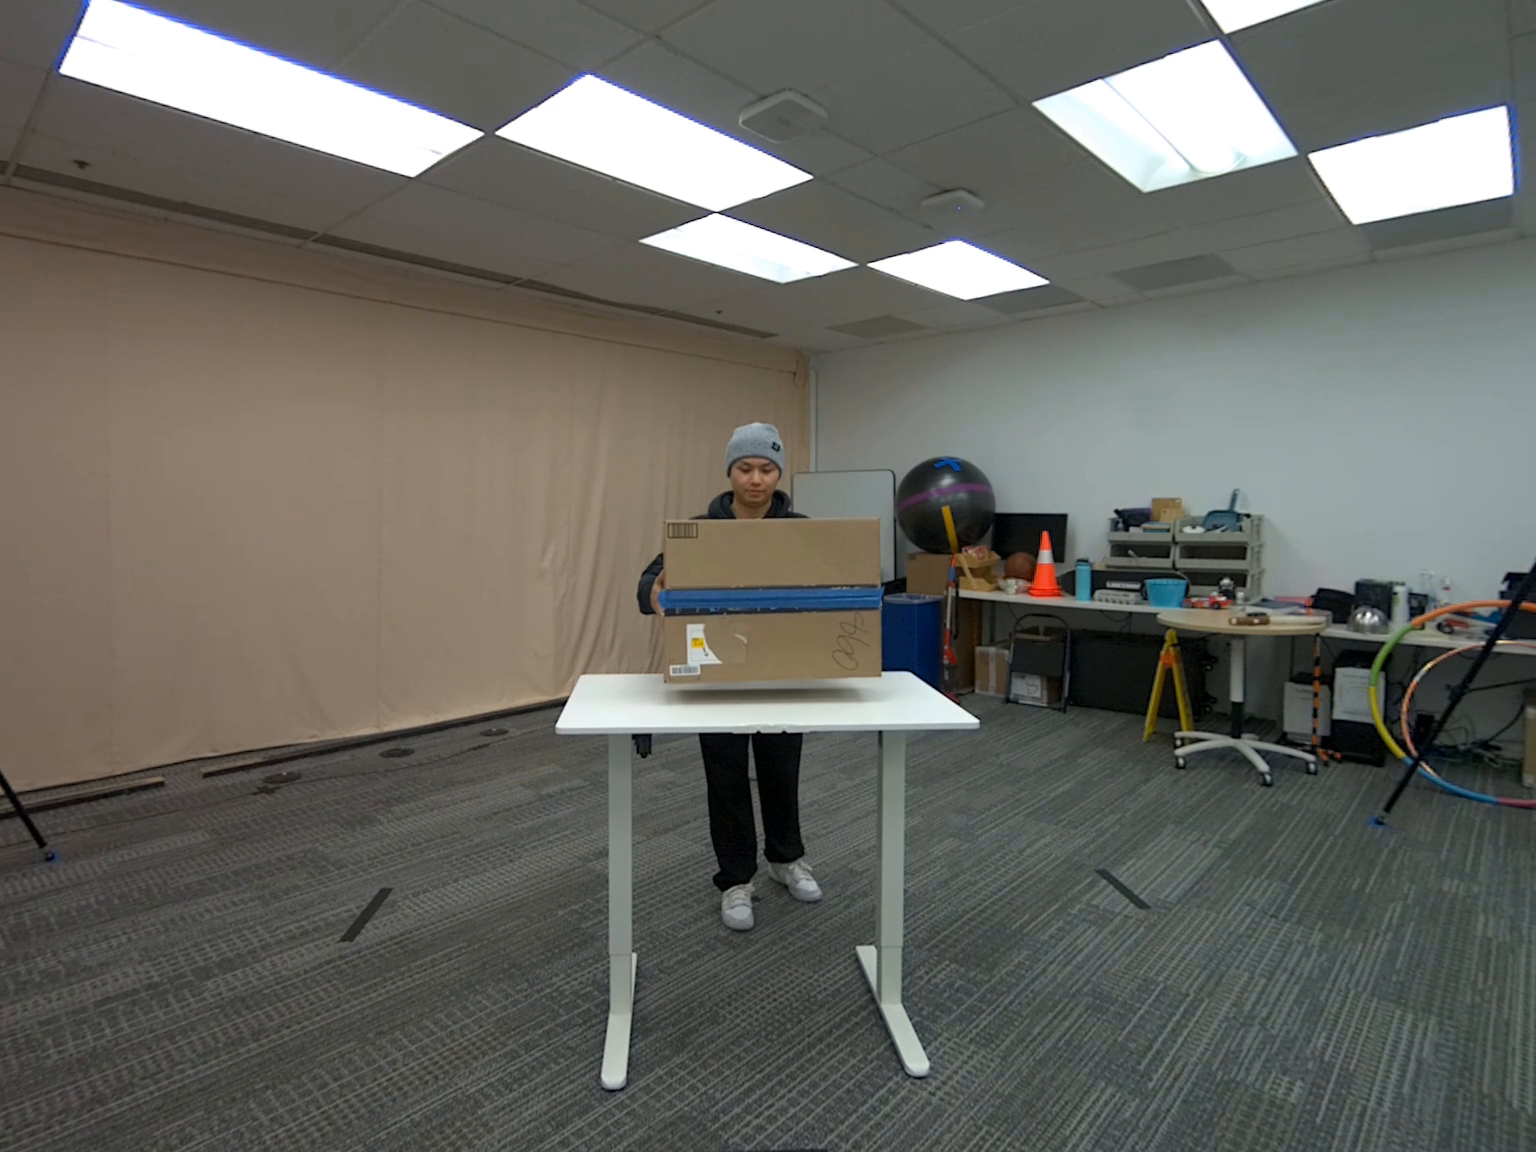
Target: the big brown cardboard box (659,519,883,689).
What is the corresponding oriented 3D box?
[{"bbox_3d":[-0.002,0.062,2.271,0.586,0.418,0.234,-2,-1,-5],"label":"big brown cardboard box"}]
